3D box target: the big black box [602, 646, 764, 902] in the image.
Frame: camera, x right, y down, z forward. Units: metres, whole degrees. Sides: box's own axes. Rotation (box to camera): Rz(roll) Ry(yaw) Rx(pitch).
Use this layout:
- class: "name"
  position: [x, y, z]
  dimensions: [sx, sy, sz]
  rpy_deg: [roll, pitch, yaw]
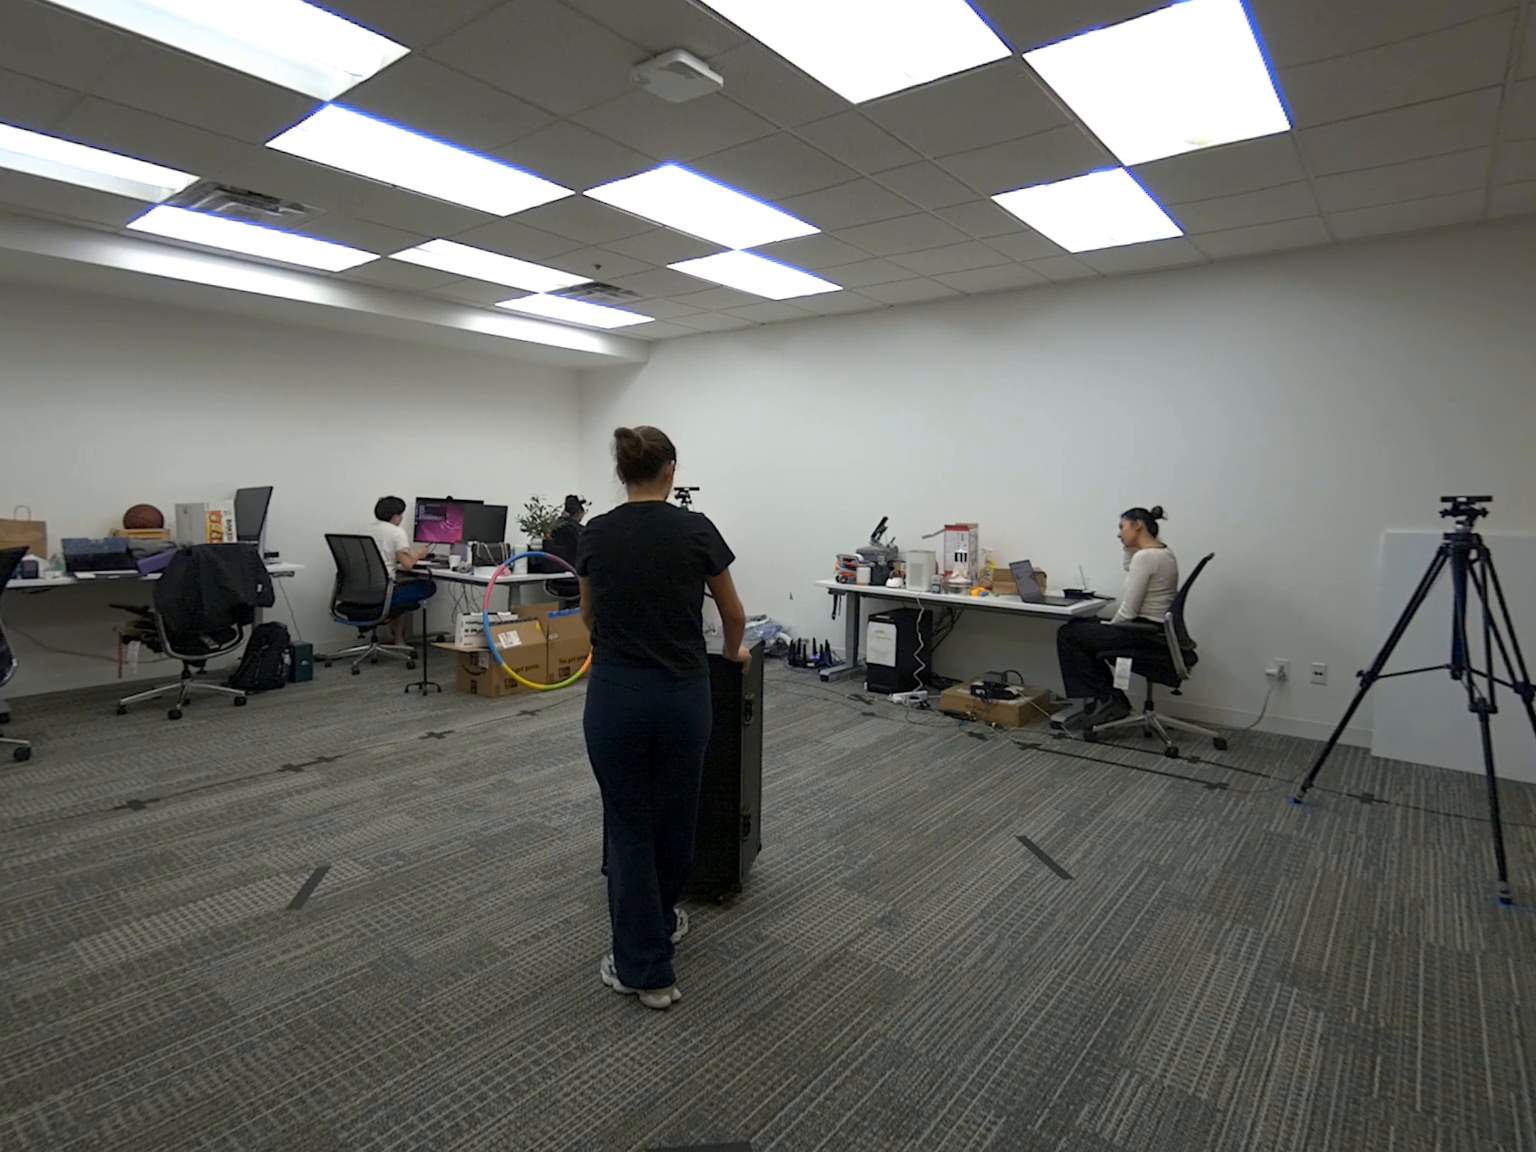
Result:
- class: "big black box"
  position: [-0.274, 0.653, 3.008]
  dimensions: [0.530, 0.860, 0.391]
  rpy_deg: [2, 2, 14]
